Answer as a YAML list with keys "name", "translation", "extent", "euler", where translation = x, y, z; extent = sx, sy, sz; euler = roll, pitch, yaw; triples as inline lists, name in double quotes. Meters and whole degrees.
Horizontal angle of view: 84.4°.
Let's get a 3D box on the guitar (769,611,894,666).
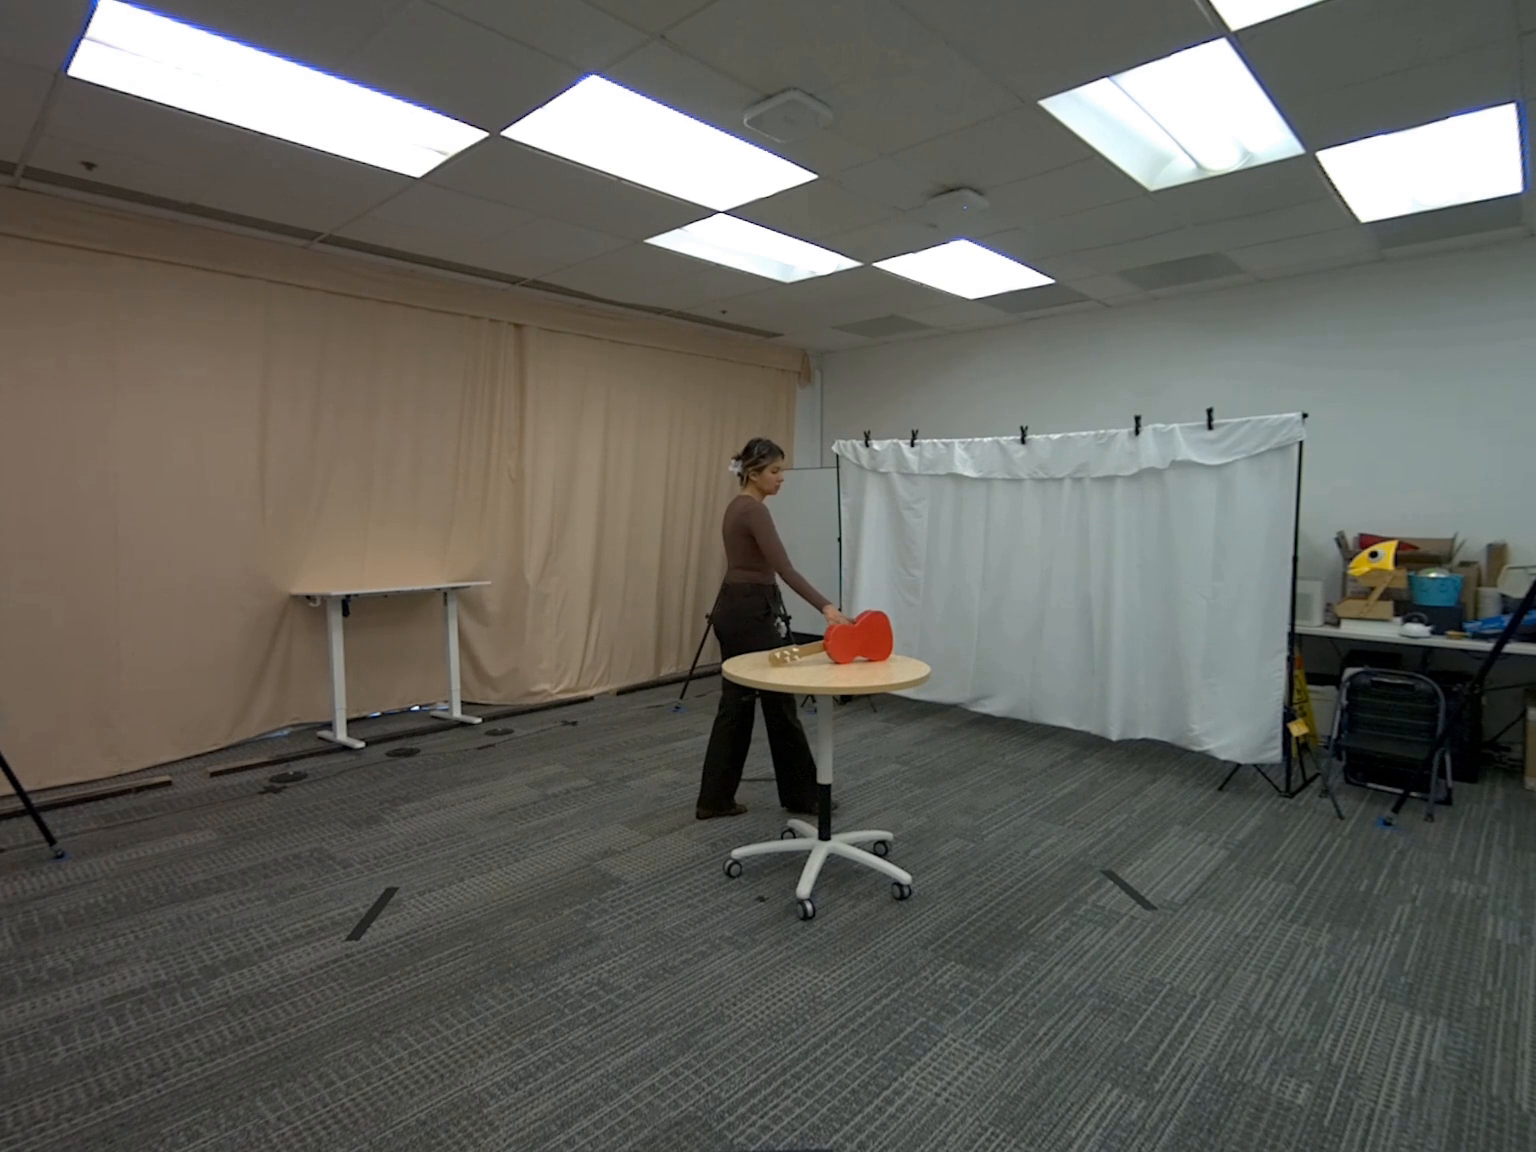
- name: "guitar"
  translation: [0.254, 0.290, 3.176]
  extent: [0.491, 0.192, 0.072]
  euler: [-20, 7, -18]
